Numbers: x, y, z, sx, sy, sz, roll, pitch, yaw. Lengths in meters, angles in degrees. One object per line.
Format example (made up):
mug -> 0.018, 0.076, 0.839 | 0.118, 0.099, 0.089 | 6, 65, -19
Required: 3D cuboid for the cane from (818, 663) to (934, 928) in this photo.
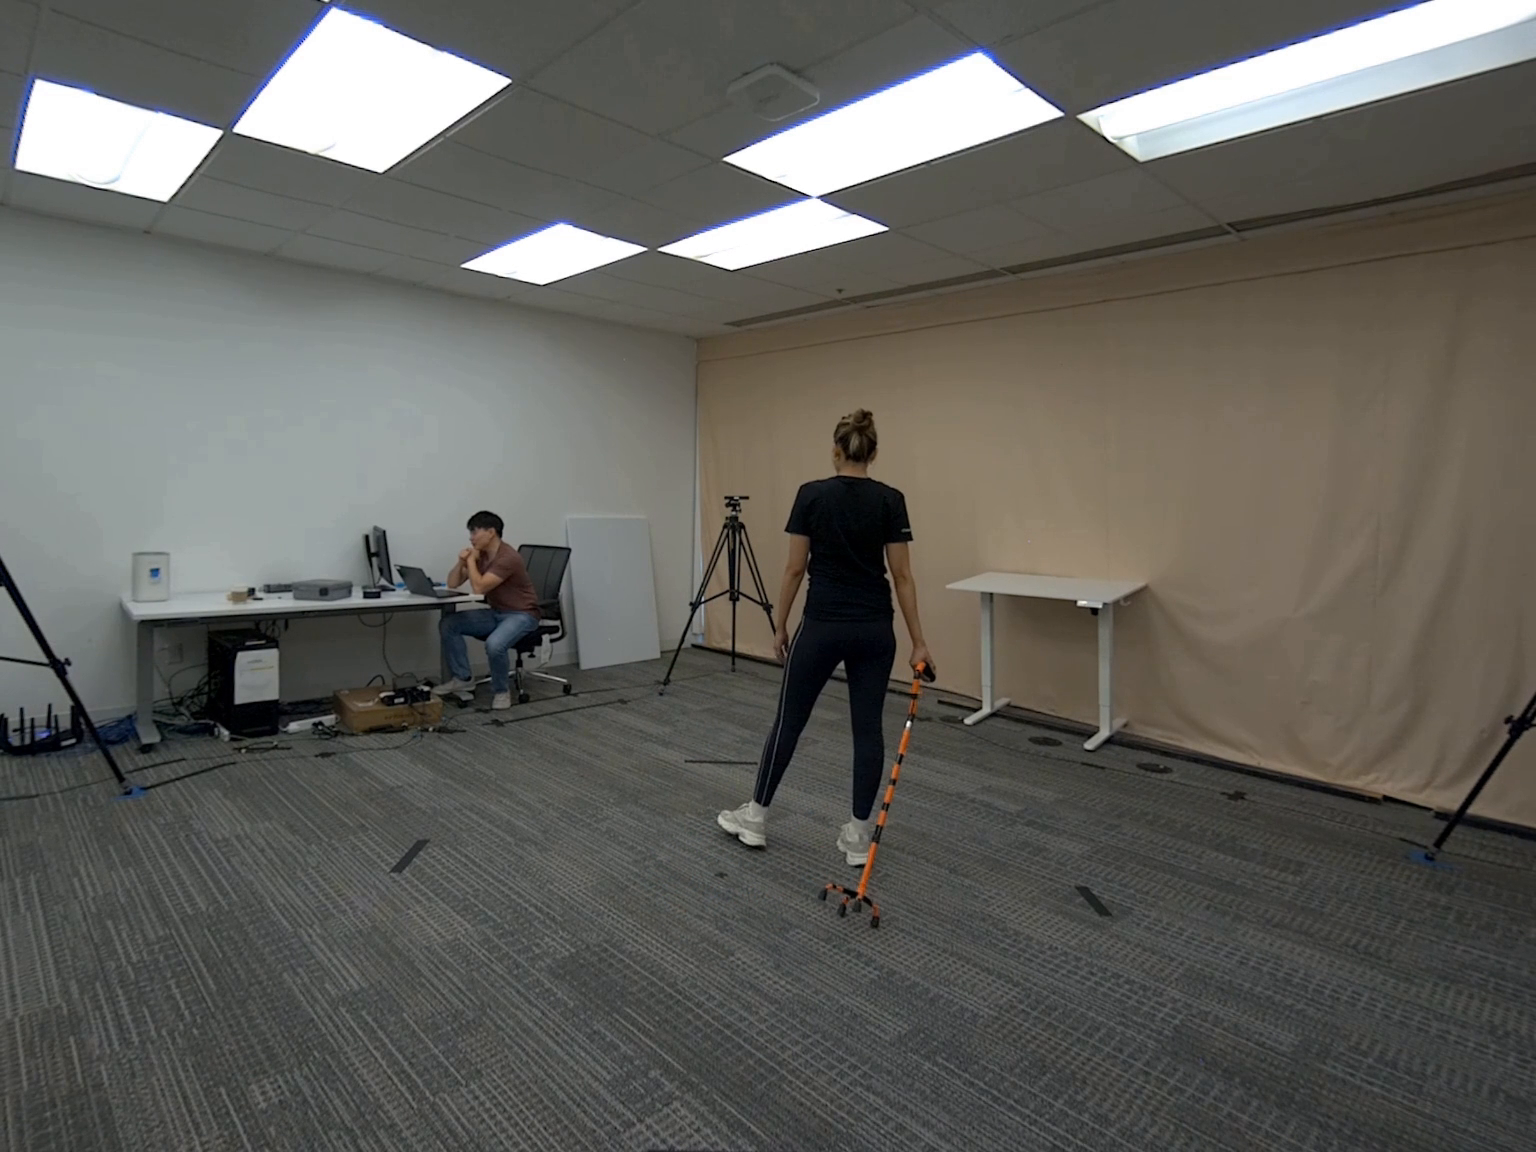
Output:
cane -> 0.407, 0.710, 2.905 | 0.155, 0.916, 0.200 | 4, -31, 32
